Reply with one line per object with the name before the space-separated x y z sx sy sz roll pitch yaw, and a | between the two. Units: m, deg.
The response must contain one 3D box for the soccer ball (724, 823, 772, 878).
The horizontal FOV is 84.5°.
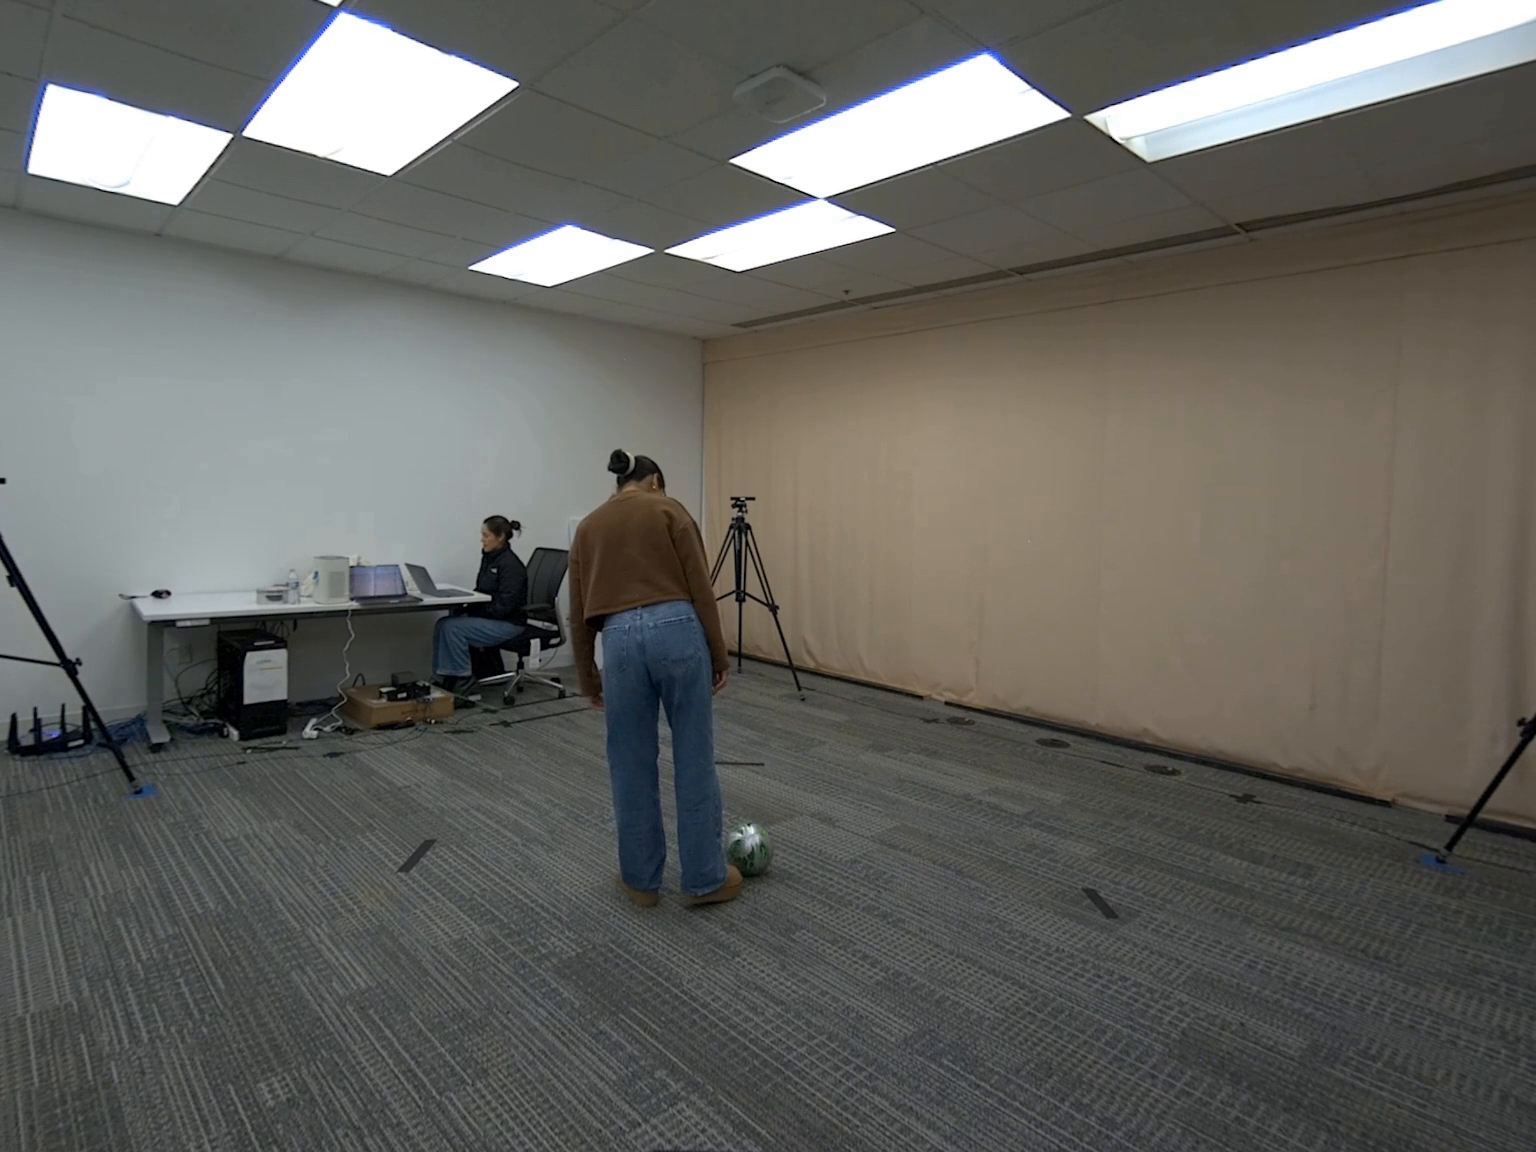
soccer ball | -0.080 1.018 3.124 0.187 0.187 0.188 1 4 -1
